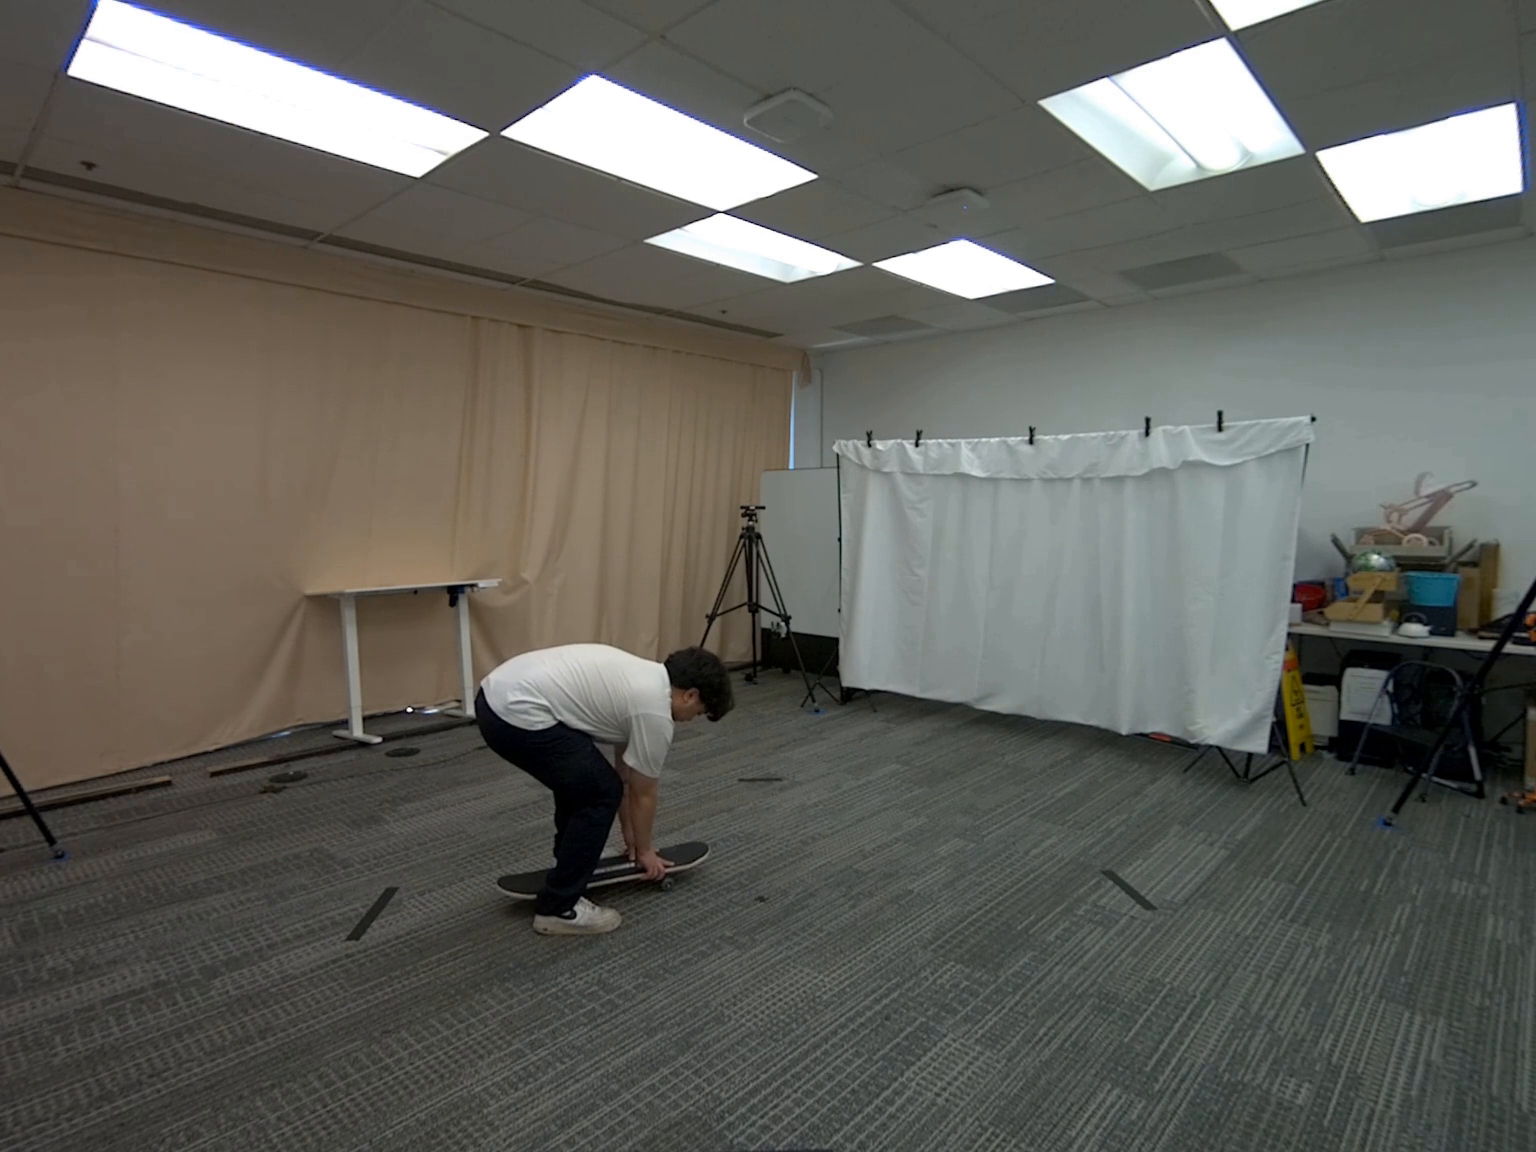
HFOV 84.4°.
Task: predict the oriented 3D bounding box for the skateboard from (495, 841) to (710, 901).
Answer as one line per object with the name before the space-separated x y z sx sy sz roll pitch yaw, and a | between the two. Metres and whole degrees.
skateboard | -0.581 1.096 3.028 0.767 0.110 0.198 -2 4 -24
